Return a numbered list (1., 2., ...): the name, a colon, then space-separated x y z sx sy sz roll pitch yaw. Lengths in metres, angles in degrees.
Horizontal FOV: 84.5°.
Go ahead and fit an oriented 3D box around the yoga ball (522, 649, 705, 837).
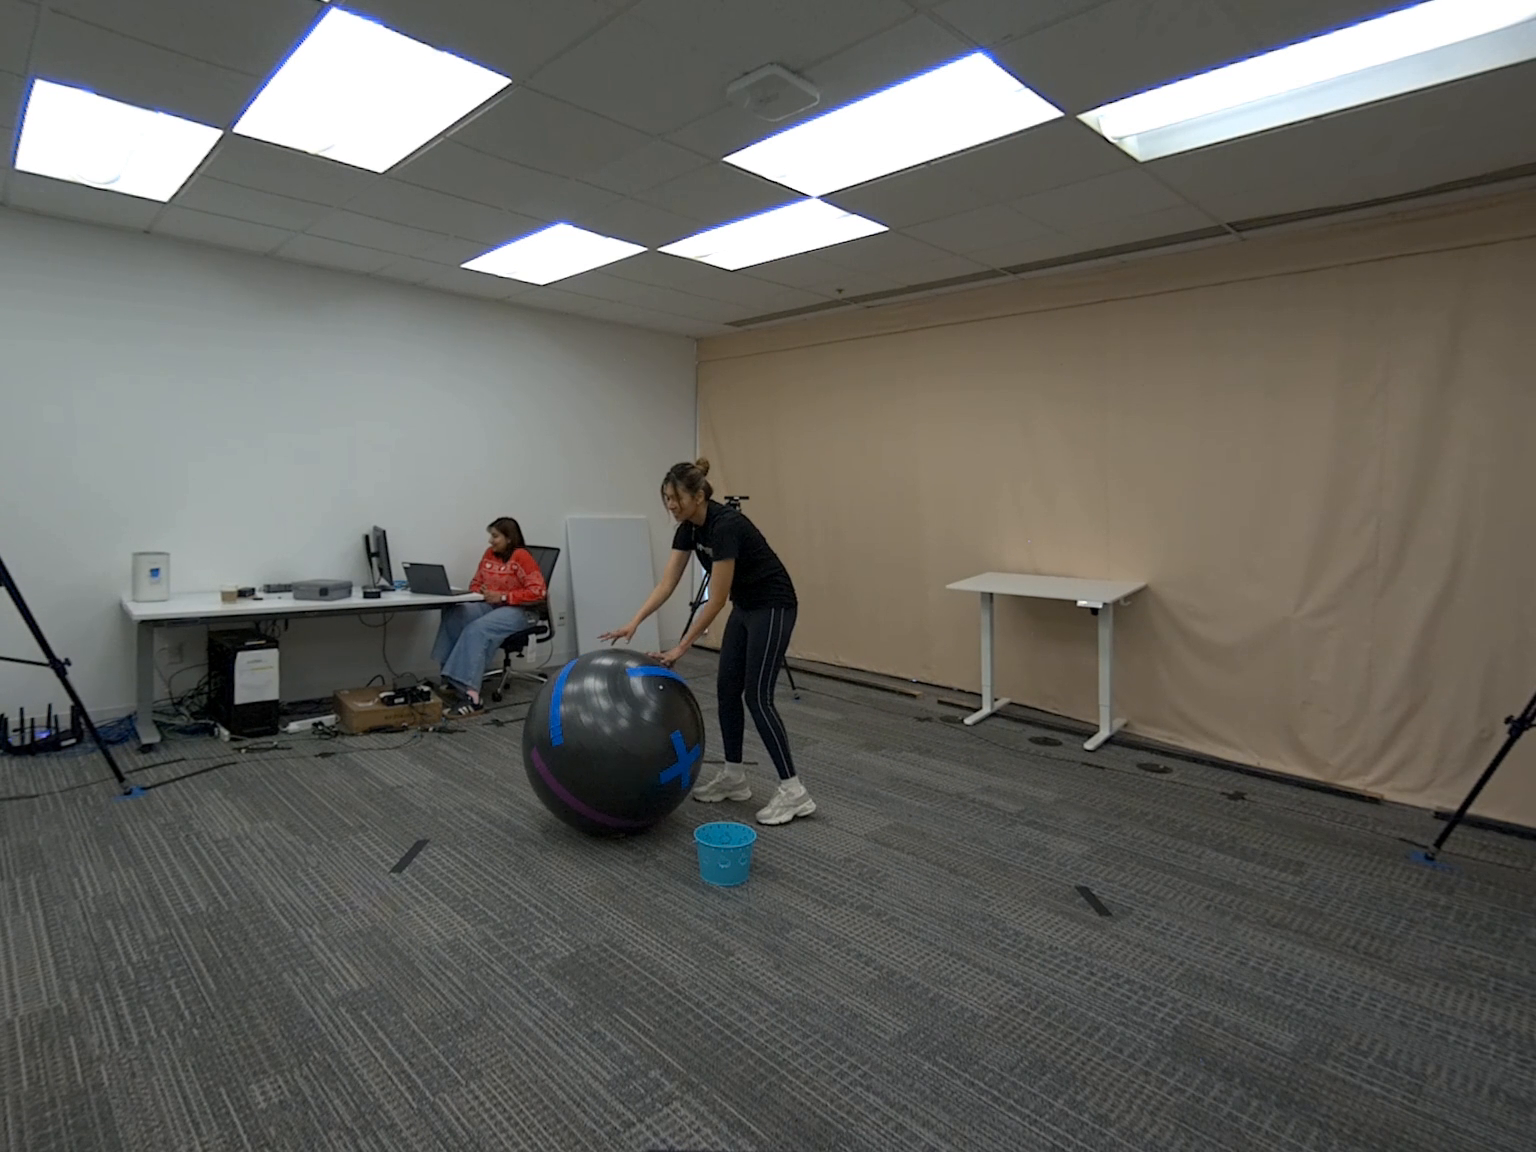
1. yoga ball: -0.648 0.691 3.514 0.757 0.756 0.761 1 4 -1
